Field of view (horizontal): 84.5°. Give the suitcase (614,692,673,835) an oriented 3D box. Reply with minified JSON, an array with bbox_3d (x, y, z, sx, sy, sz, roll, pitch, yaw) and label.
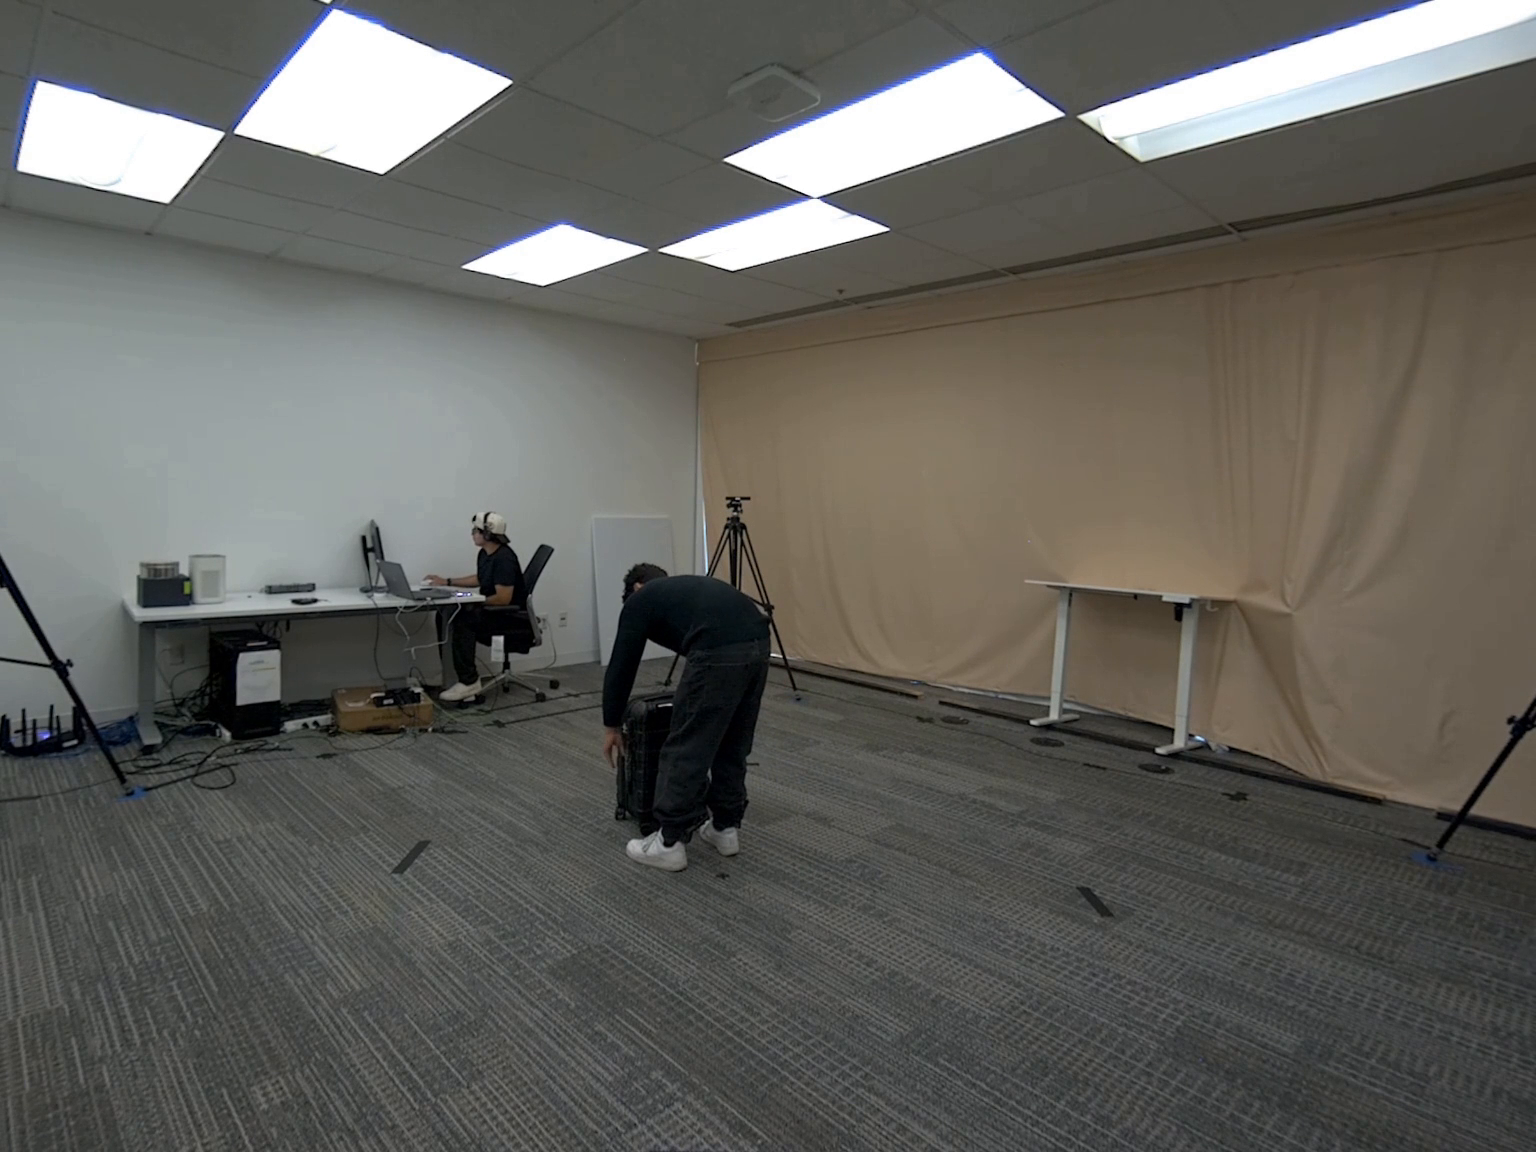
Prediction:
[{"bbox_3d":[-0.468,0.779,3.628,0.367,0.548,0.254,-1,3,-33],"label":"suitcase"}]
